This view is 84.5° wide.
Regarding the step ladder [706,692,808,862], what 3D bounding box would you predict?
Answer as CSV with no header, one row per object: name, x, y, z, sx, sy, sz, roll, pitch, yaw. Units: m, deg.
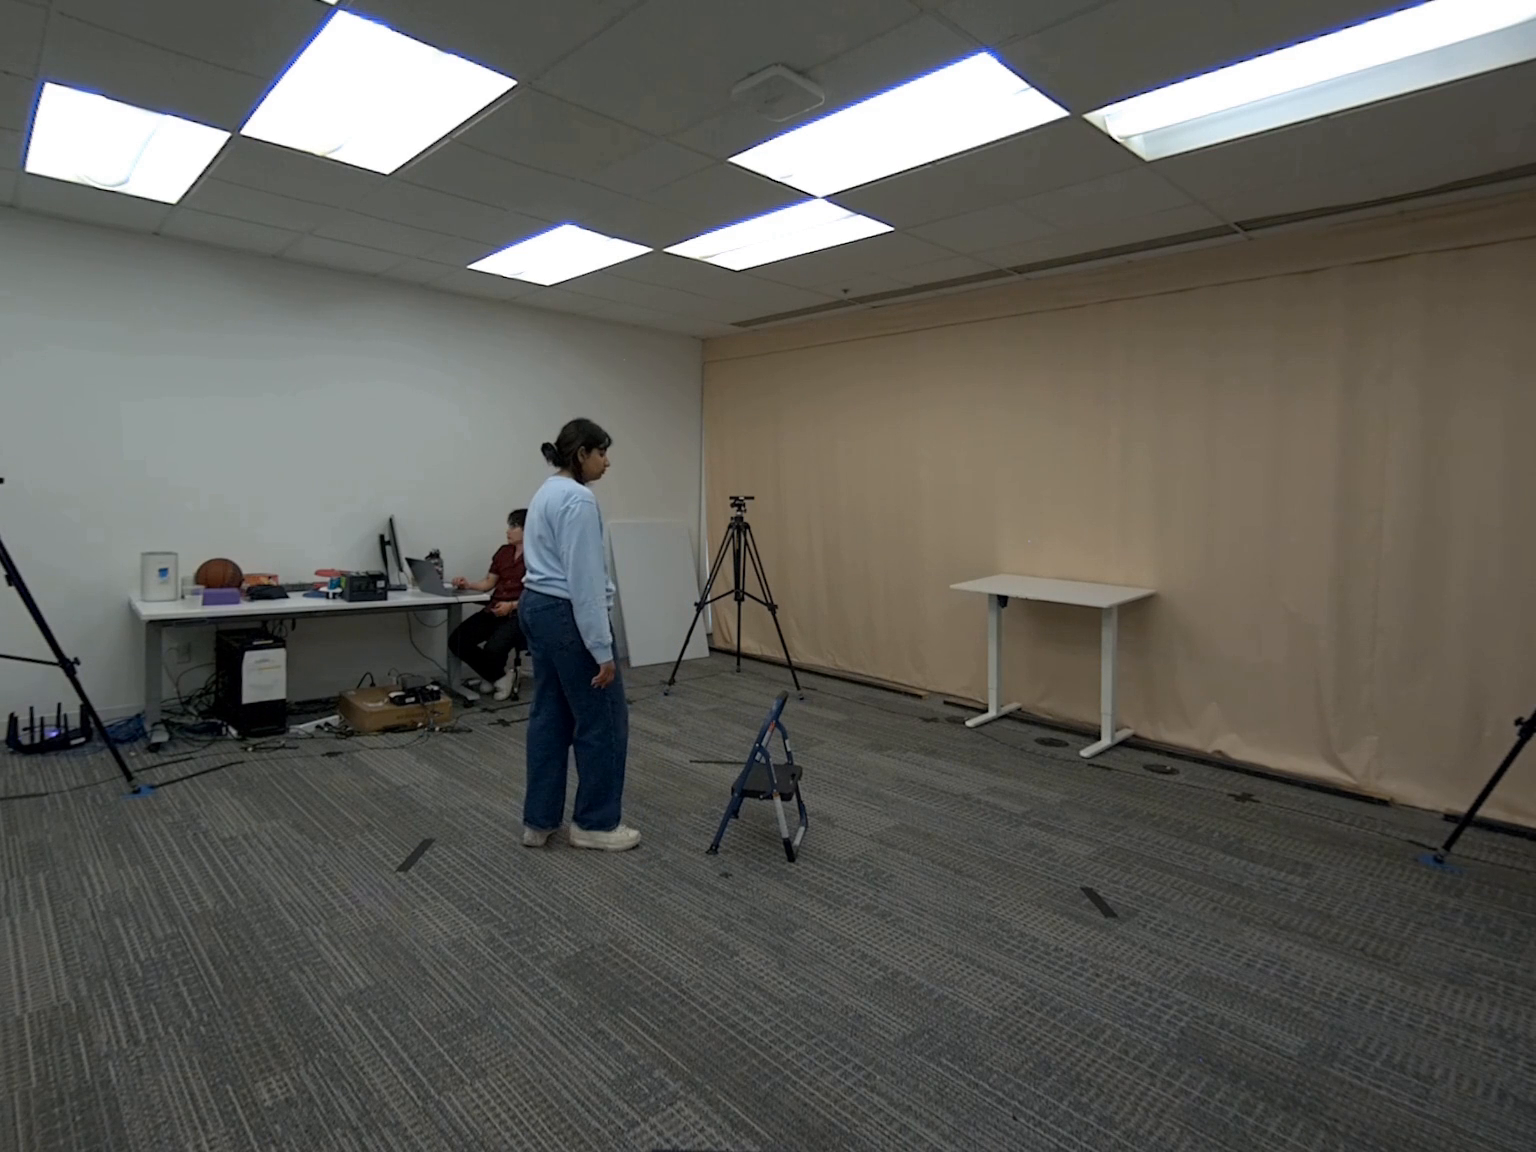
step ladder,-0.032,0.774,3.444,0.353,0.605,0.427,2,3,11
